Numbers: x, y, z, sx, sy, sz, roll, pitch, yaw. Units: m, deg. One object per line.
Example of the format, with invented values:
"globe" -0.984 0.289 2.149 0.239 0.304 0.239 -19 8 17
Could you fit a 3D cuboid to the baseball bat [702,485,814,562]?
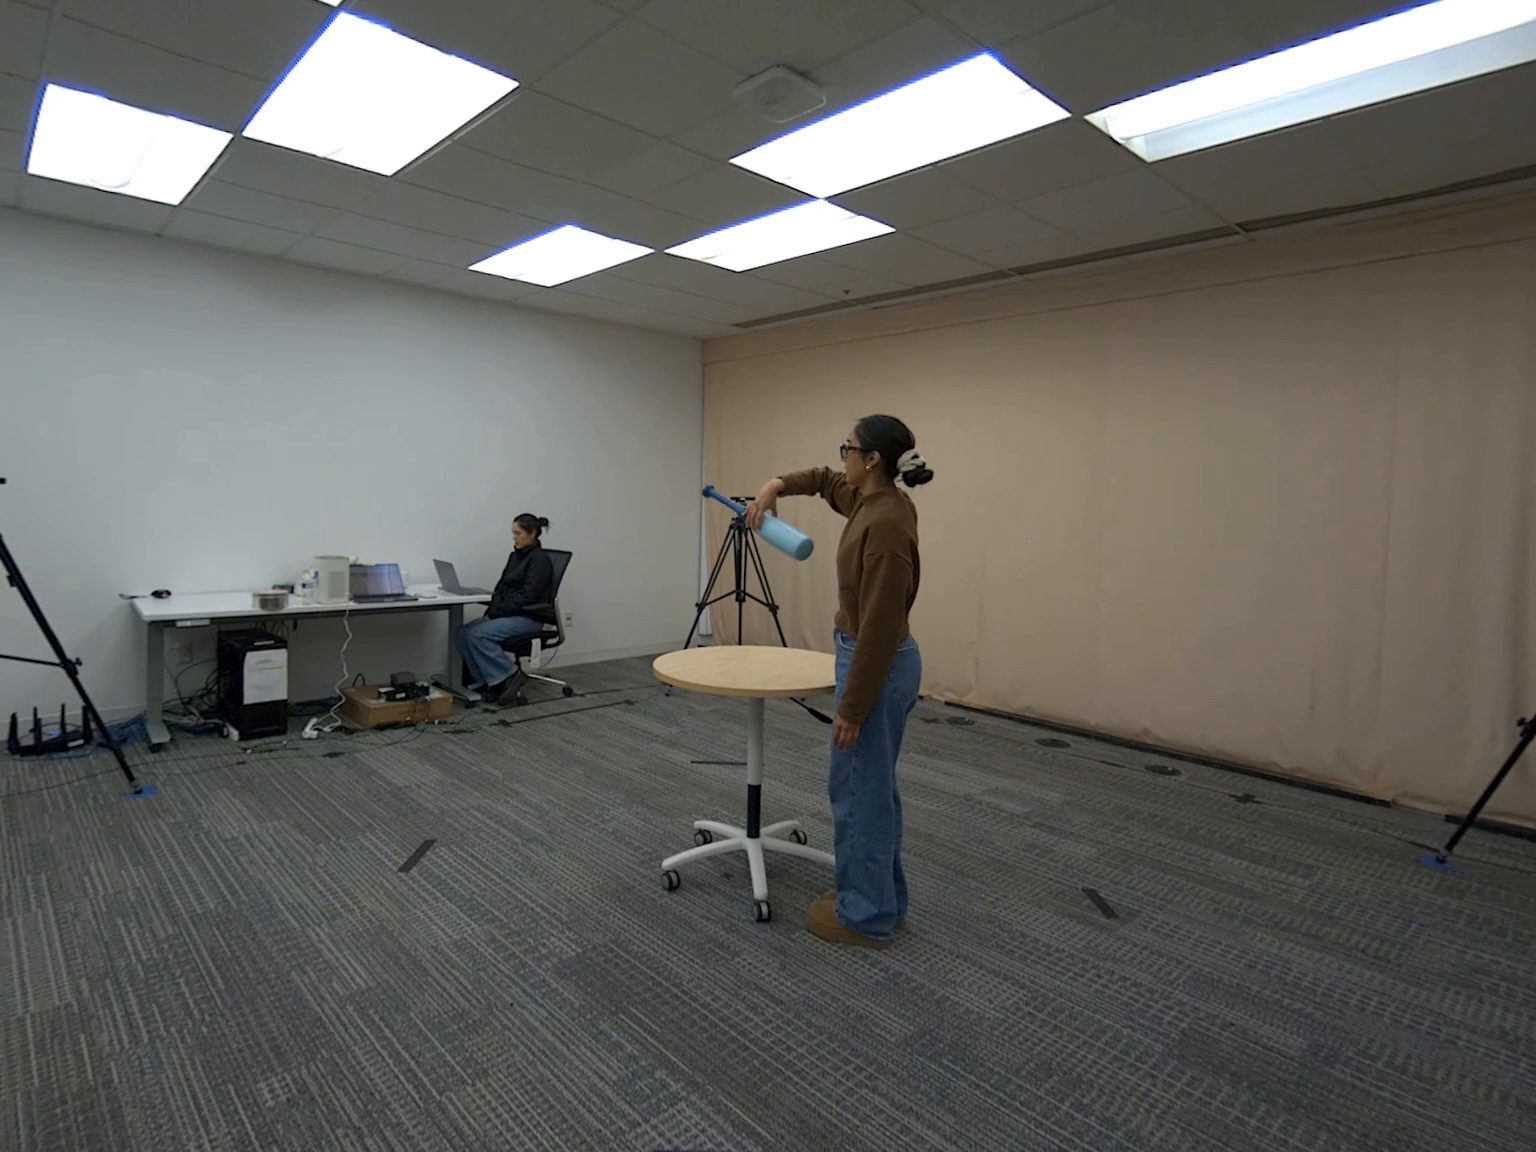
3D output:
"baseball bat" -0.047 -0.194 2.871 0.087 0.088 0.560 -2 26 -42
